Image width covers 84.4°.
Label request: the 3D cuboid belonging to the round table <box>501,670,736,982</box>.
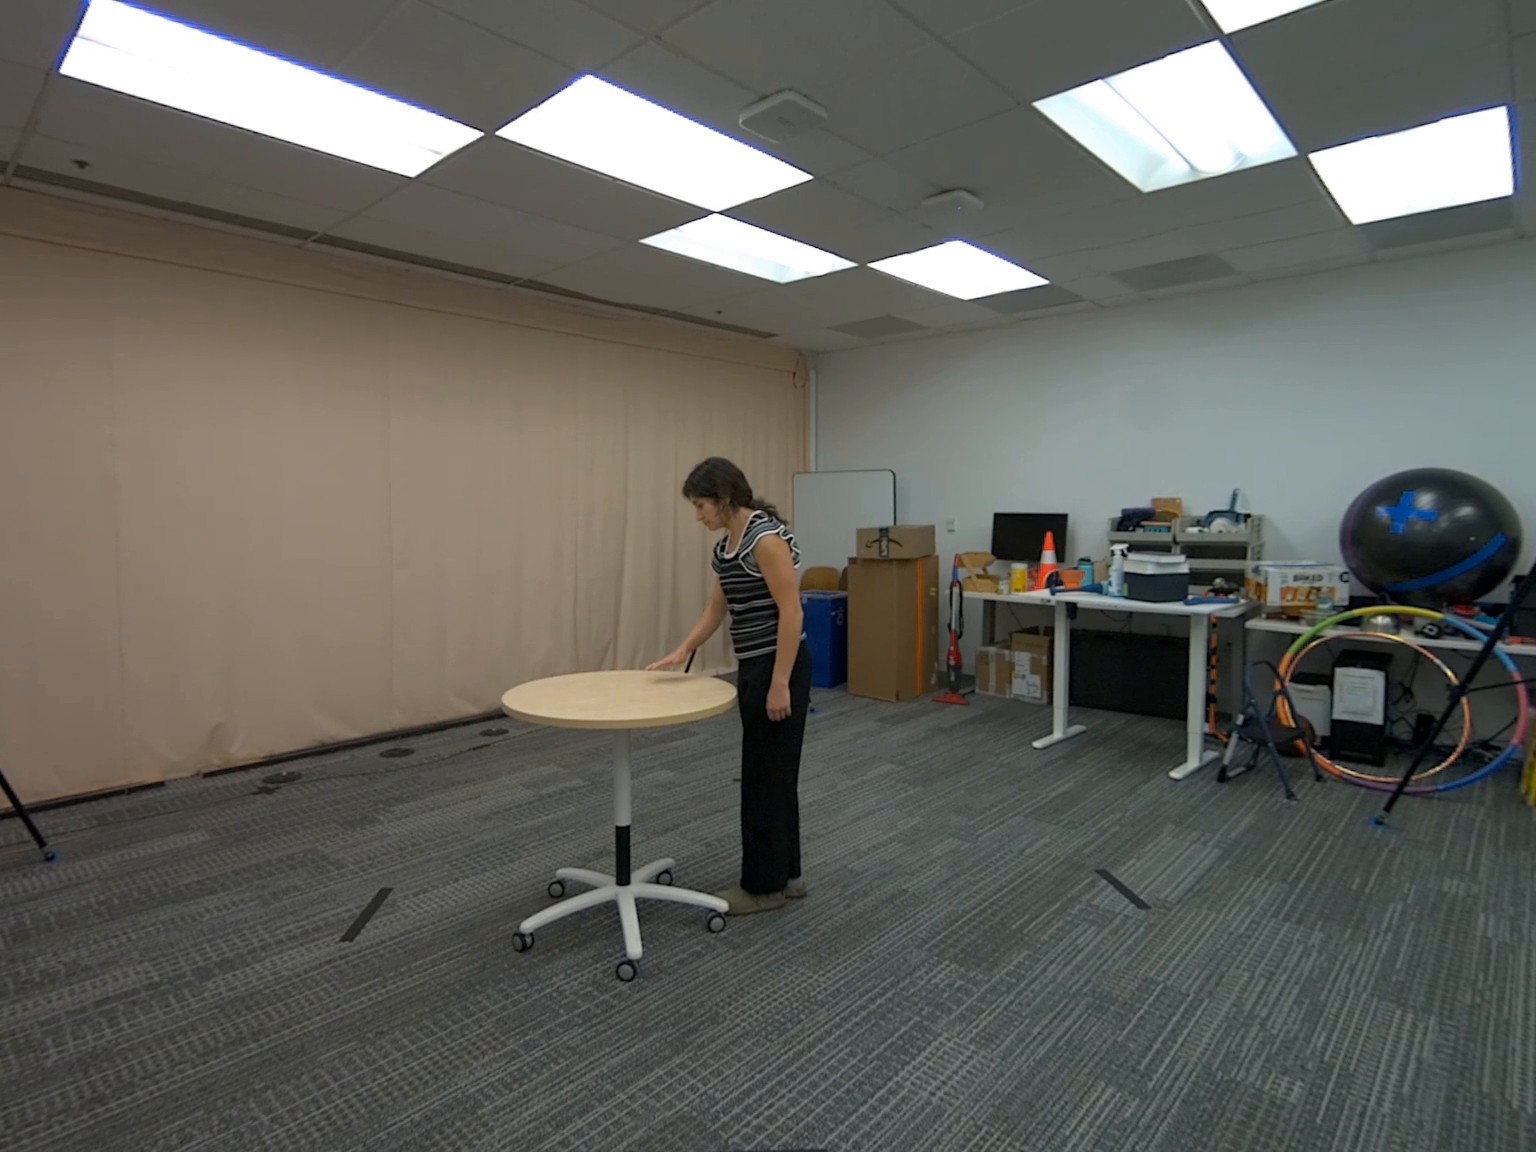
[{"bbox_3d":[-0.481,0.777,2.786,0.763,0.792,0.766,0,3,-2],"label":"round table"}]
